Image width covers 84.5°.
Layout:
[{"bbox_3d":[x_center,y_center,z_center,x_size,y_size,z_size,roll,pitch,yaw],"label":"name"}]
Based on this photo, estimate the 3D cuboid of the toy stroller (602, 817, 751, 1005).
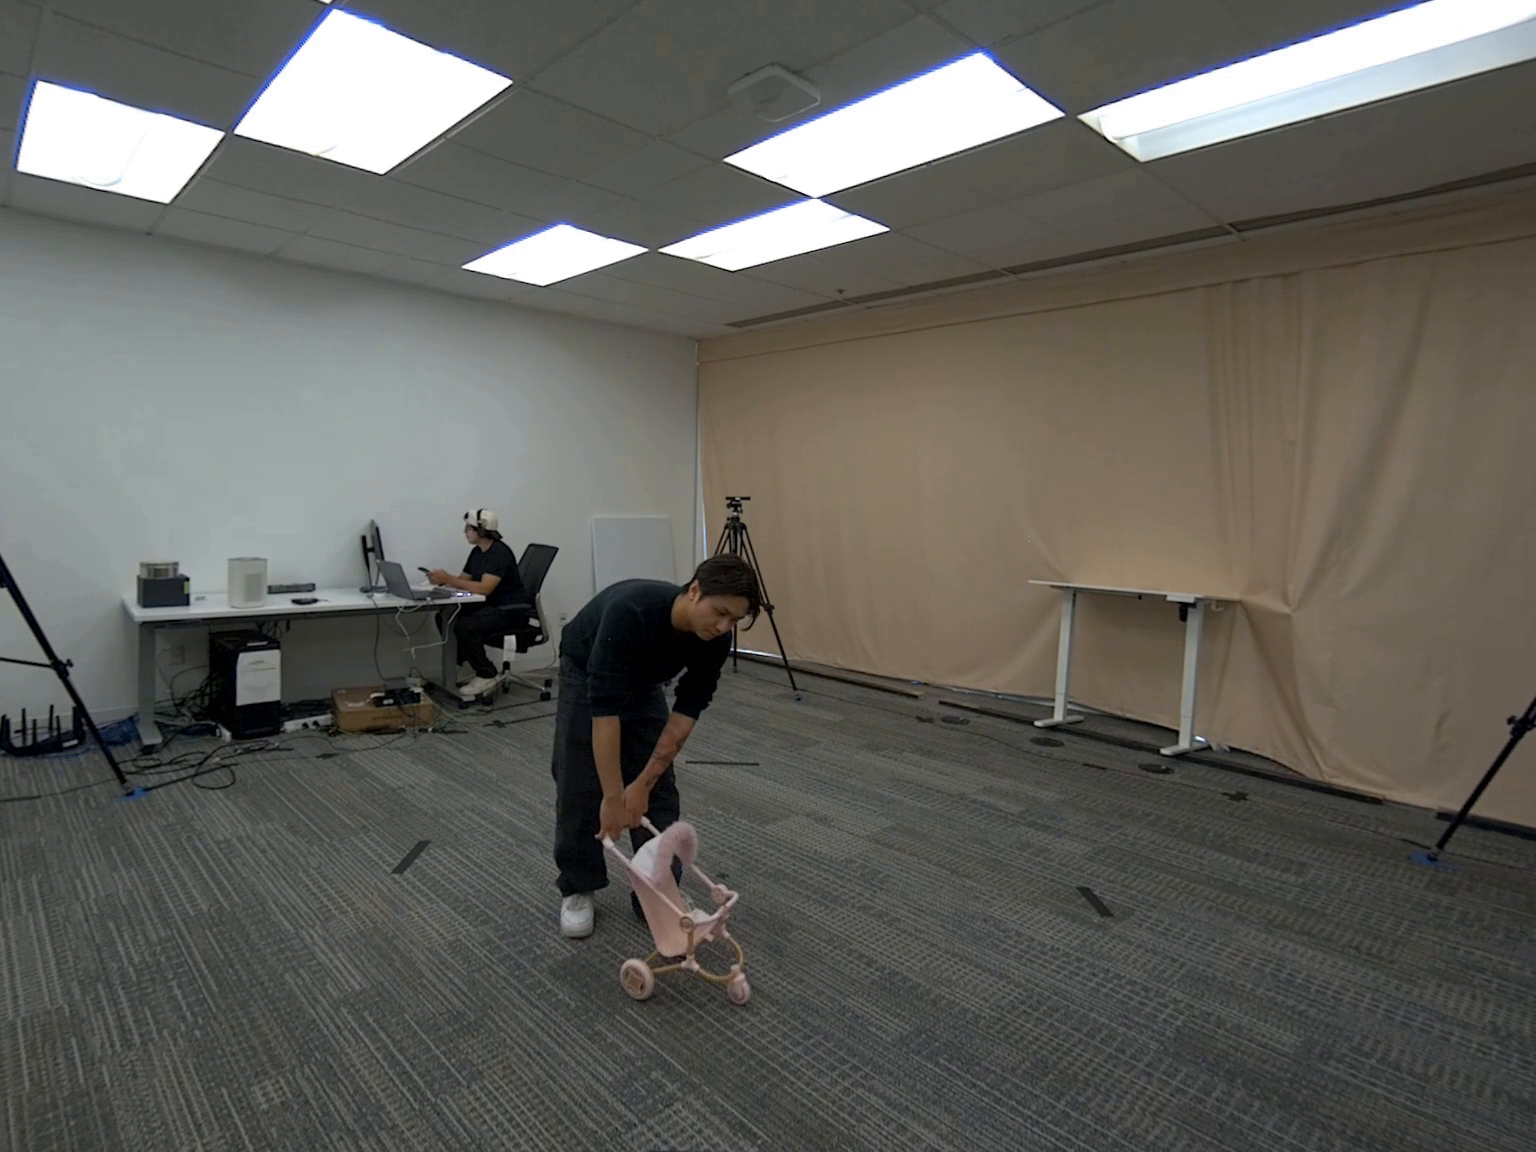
[{"bbox_3d":[-0.249,0.946,2.397,0.346,0.537,0.276,-16,-6,31],"label":"toy stroller"}]
